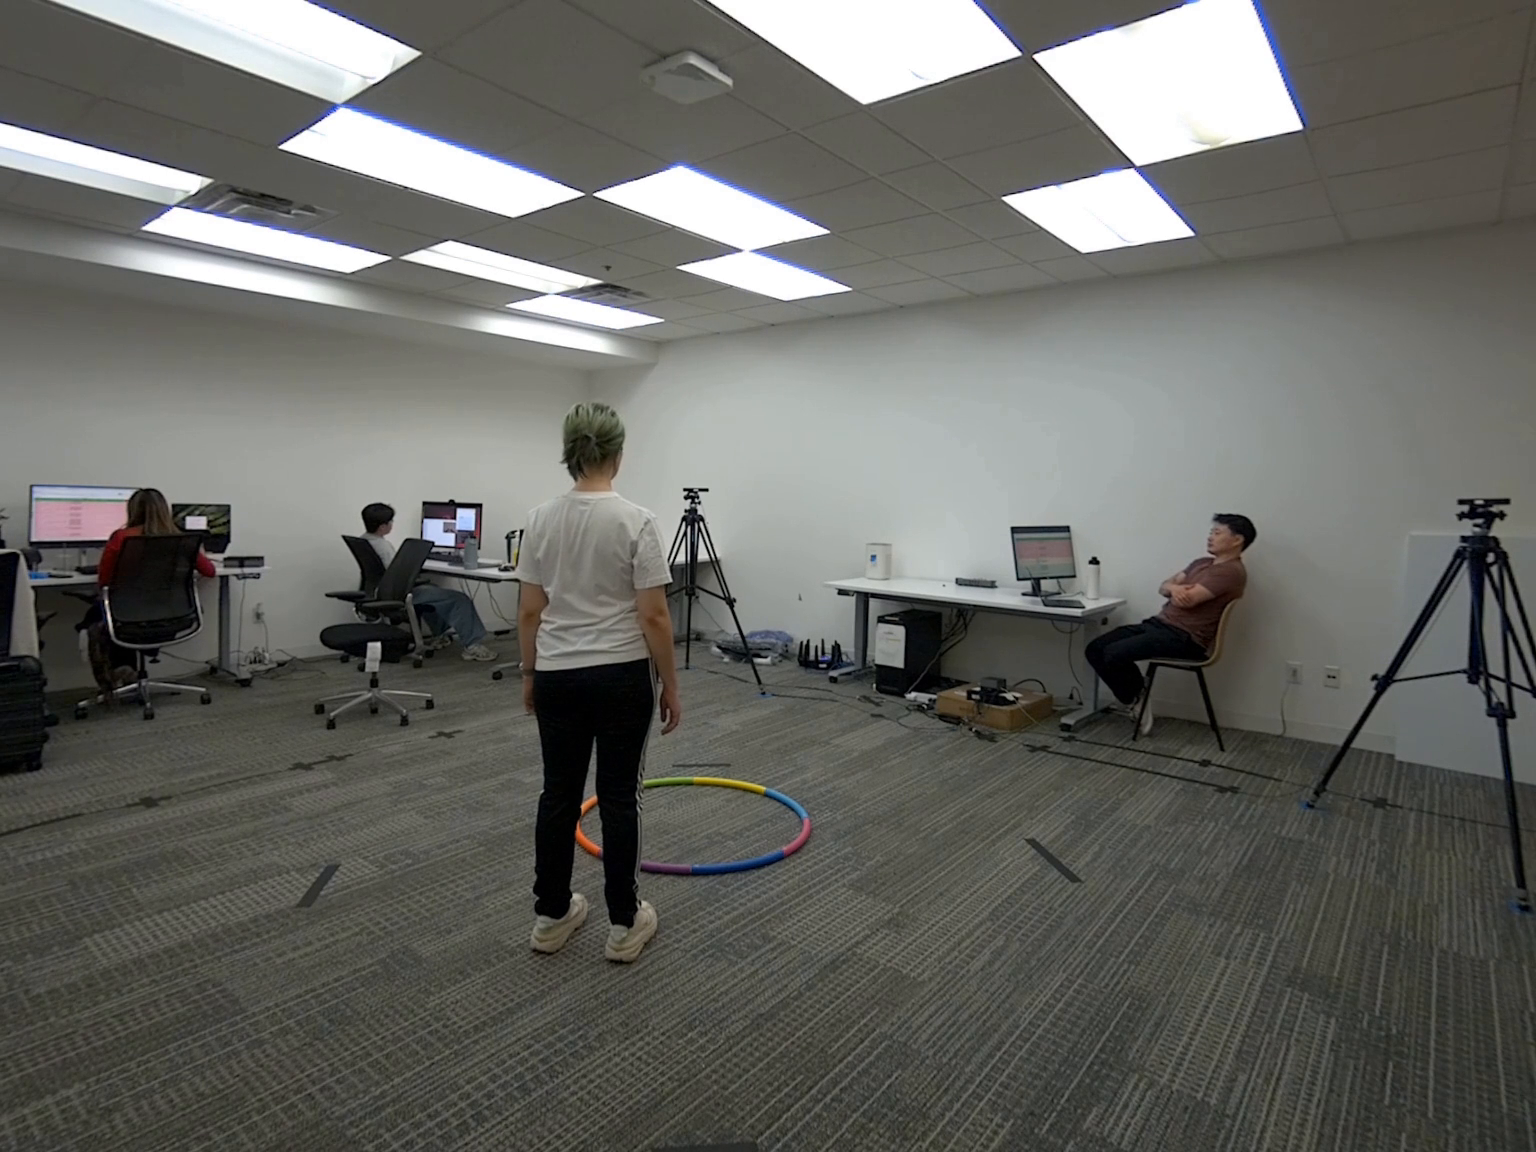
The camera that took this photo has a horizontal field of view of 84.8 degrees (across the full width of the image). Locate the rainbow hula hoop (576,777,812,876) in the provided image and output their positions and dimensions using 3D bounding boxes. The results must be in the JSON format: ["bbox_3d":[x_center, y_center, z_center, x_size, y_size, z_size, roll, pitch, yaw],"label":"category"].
[{"bbox_3d":[-0.326,0.996,3.528,0.978,0.035,0.984,1,6,-2],"label":"rainbow hula hoop"}]
